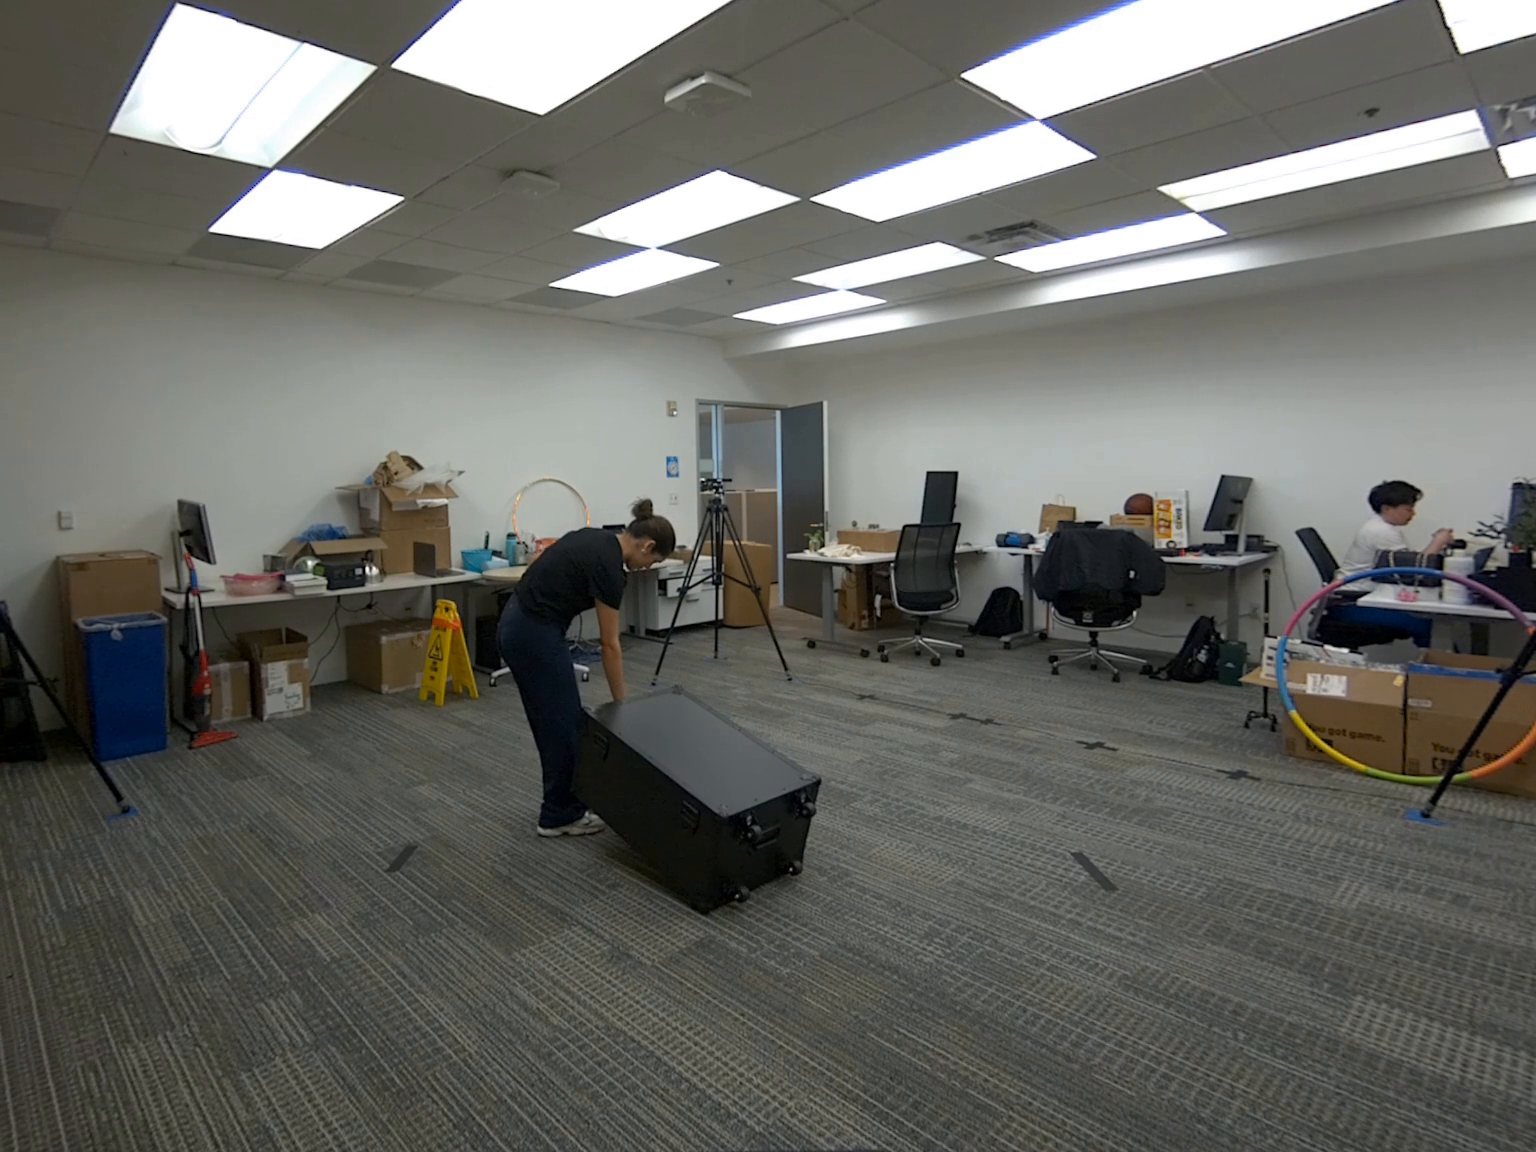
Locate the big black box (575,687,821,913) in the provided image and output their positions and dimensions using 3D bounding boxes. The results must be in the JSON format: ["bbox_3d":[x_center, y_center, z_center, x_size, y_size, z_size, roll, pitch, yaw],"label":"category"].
[{"bbox_3d":[-0.254,0.767,3.109,0.507,0.392,0.894,-5,22,-45],"label":"big black box"}]
